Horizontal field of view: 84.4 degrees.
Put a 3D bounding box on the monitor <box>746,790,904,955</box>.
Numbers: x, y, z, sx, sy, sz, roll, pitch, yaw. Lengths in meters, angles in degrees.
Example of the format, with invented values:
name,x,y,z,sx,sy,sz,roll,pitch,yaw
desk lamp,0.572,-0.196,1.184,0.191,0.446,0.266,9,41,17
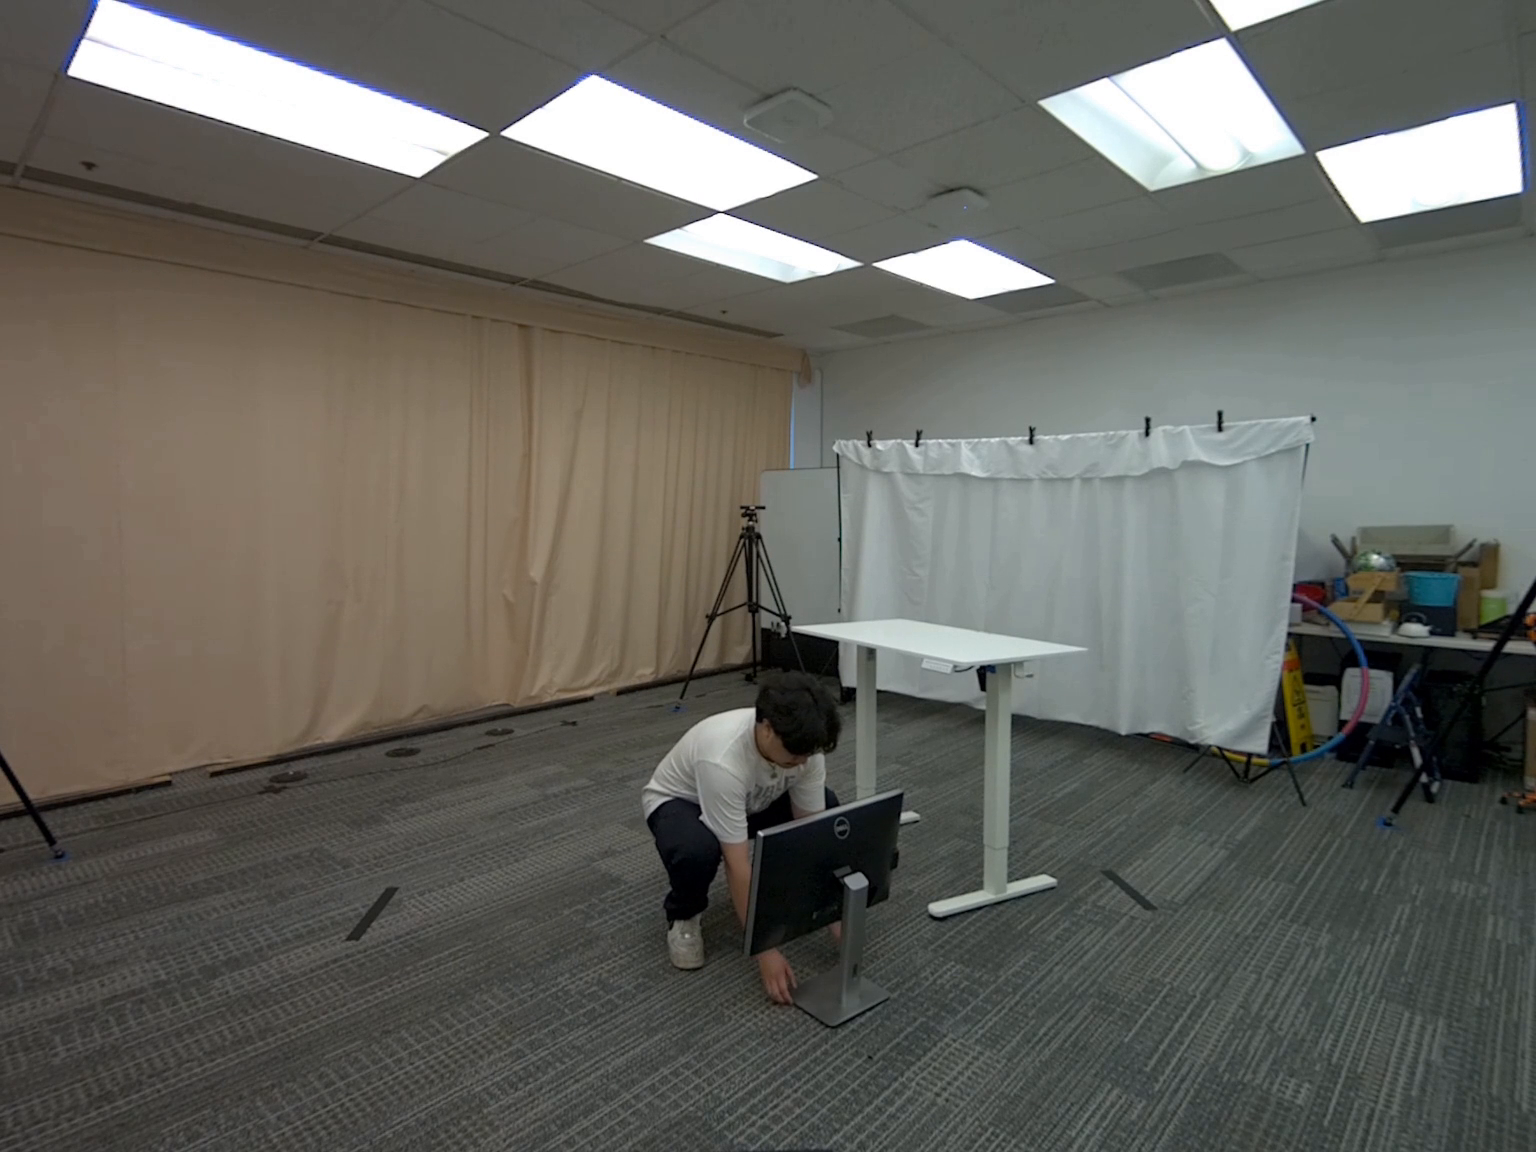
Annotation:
name,x,y,z,sx,sy,sz,roll,pitch,yaw
monitor,0.211,0.930,2.352,0.548,0.552,0.217,-2,8,-37
